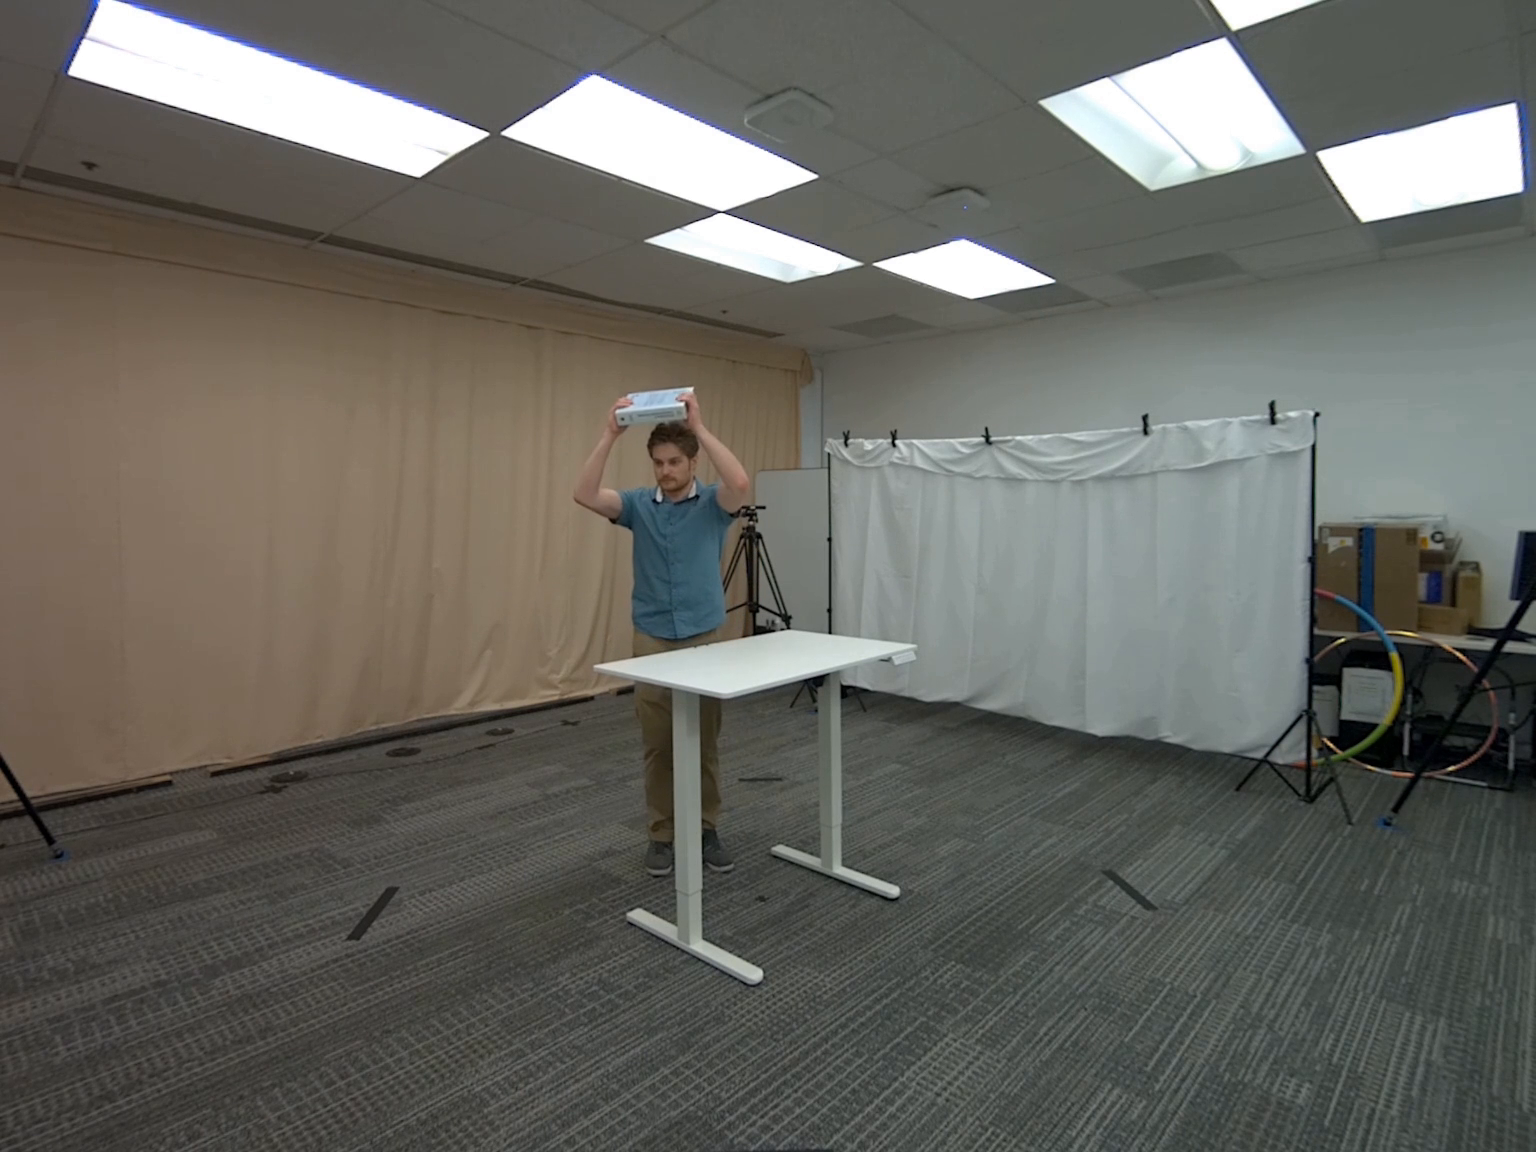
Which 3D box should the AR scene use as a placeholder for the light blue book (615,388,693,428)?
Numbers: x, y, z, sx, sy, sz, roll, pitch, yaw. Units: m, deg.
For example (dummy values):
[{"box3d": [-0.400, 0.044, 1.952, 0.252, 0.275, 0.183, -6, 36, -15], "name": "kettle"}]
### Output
[{"box3d": [-0.413, -0.622, 3.113, 0.264, 0.058, 0.193, -4, 31, 12], "name": "light blue book"}]
